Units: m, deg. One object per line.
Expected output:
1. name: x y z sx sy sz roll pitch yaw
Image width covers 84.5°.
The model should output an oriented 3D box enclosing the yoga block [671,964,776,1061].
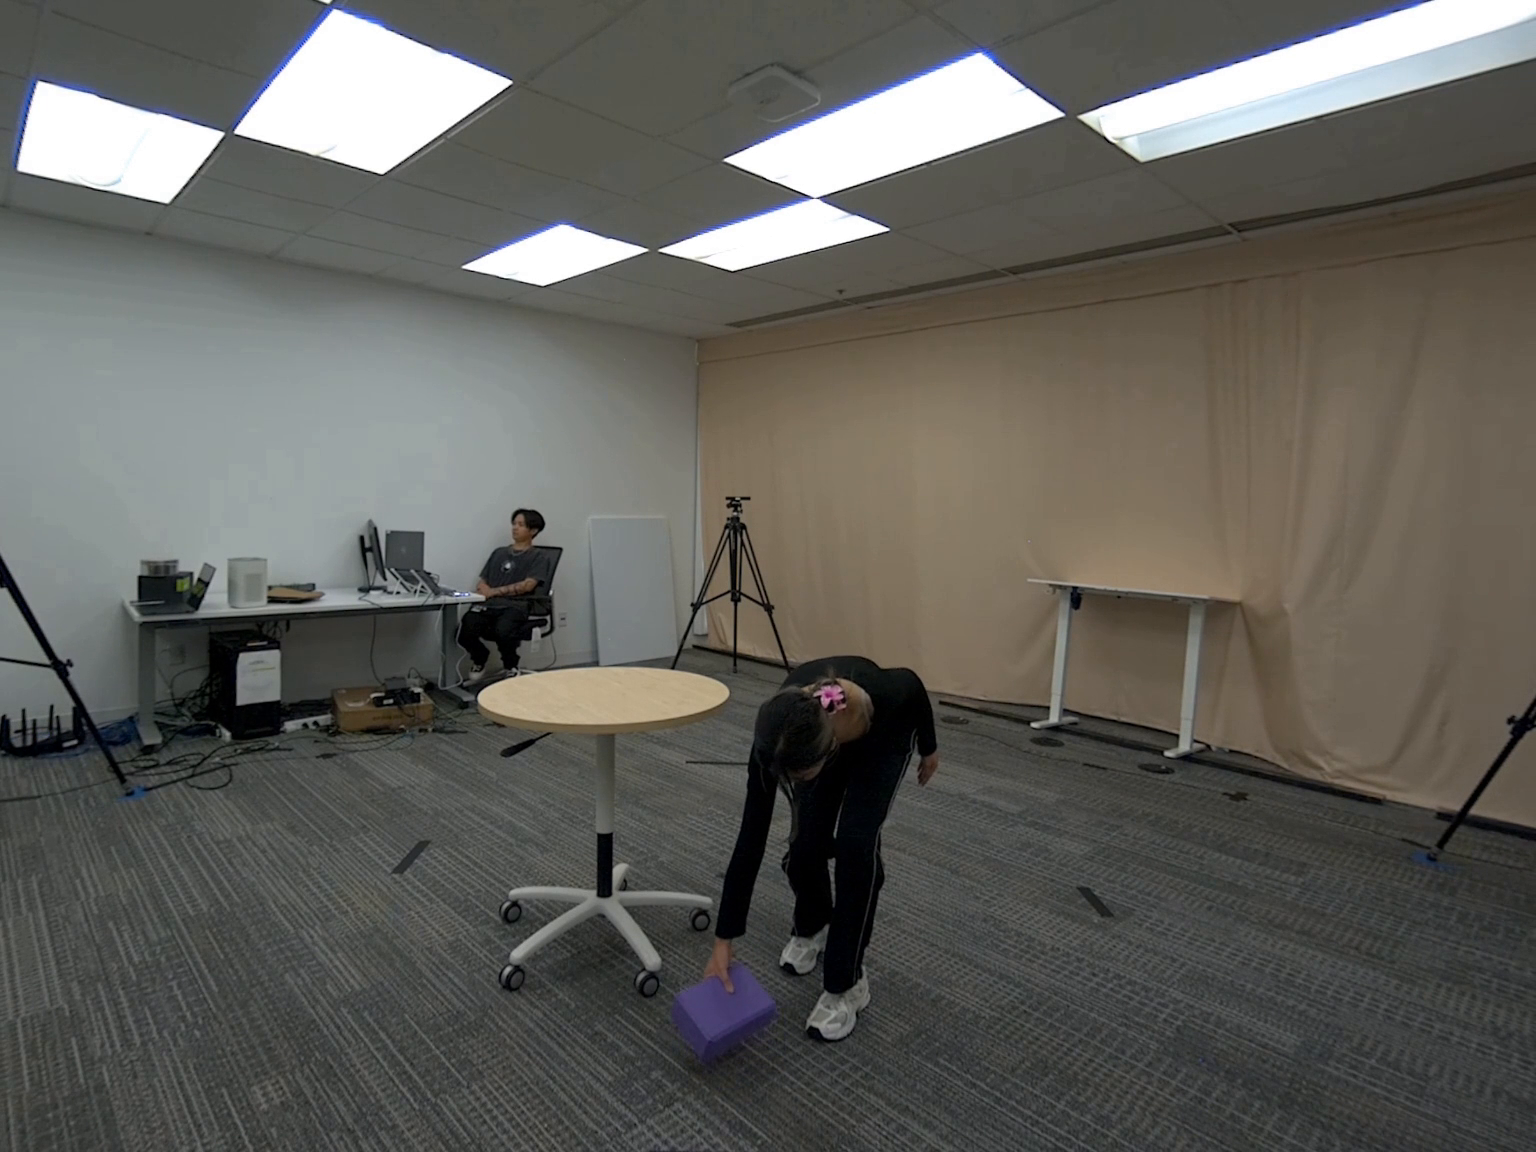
1. yoga block: -0.109 1.077 2.059 0.153 0.076 0.225 26 23 36
